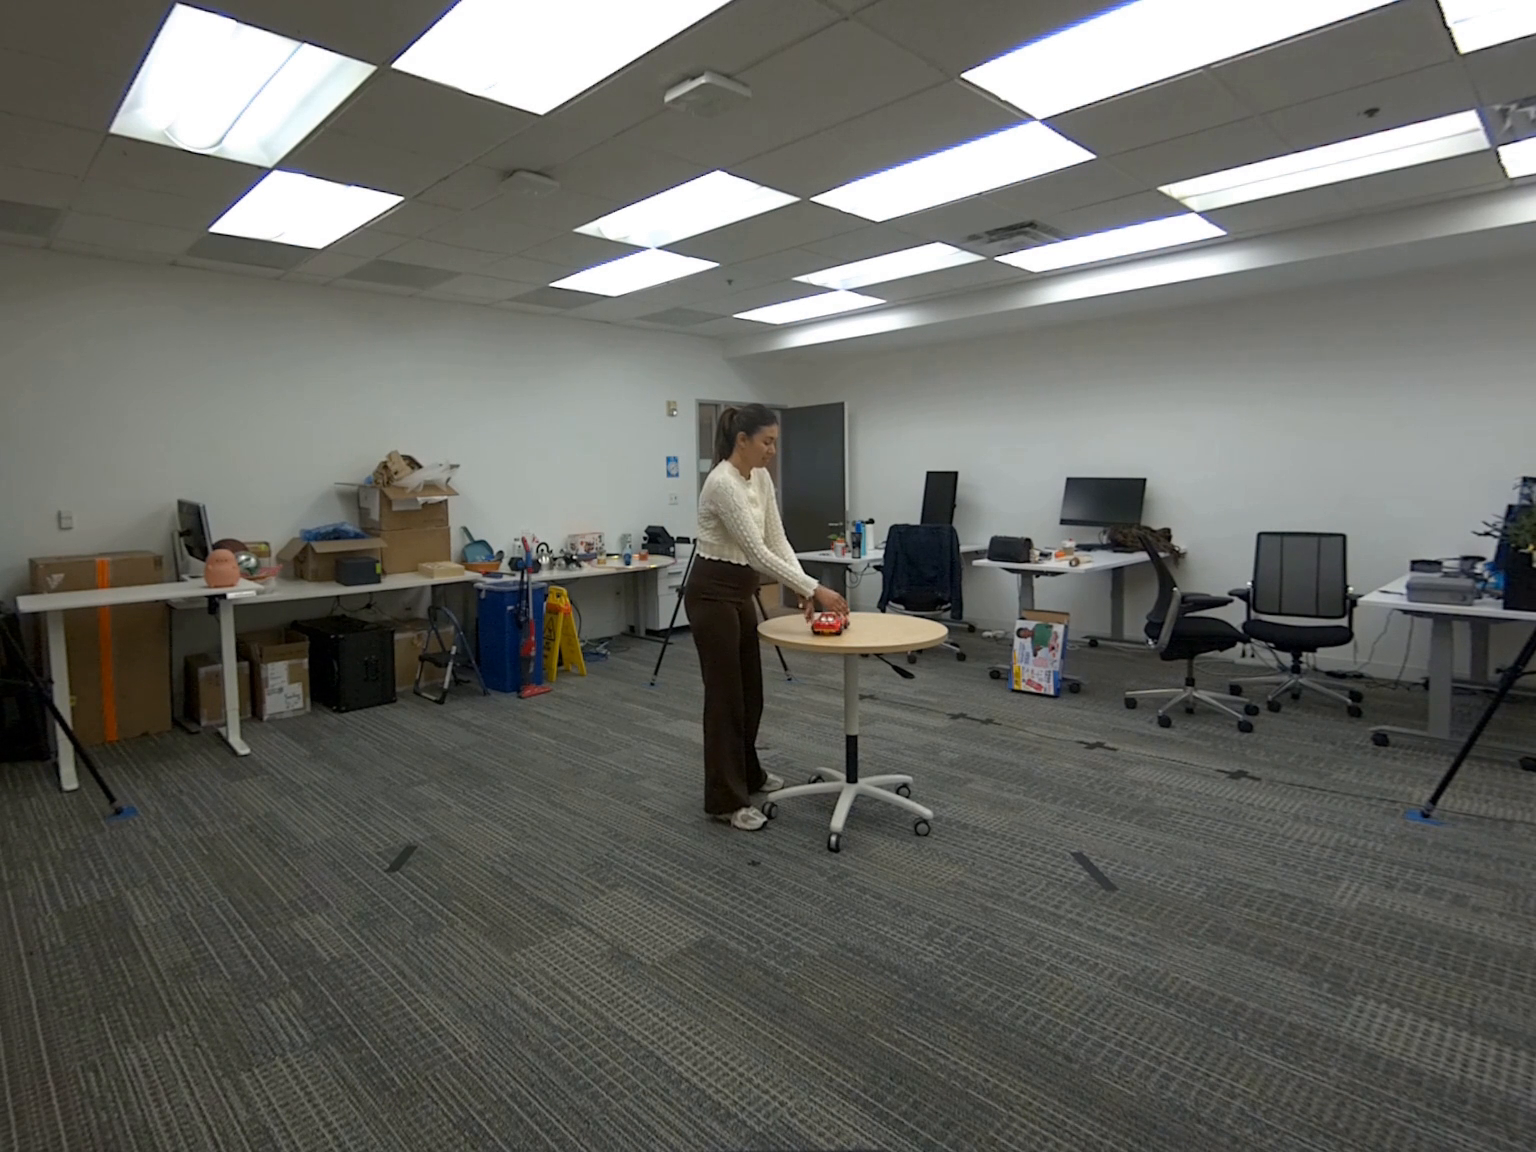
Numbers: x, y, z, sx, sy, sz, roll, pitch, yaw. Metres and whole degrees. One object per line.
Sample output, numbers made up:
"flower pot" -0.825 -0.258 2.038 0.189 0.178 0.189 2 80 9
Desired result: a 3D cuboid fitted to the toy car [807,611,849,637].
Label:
"toy car" 0.249 0.190 3.391 0.132 0.083 0.249 1 -4 16
